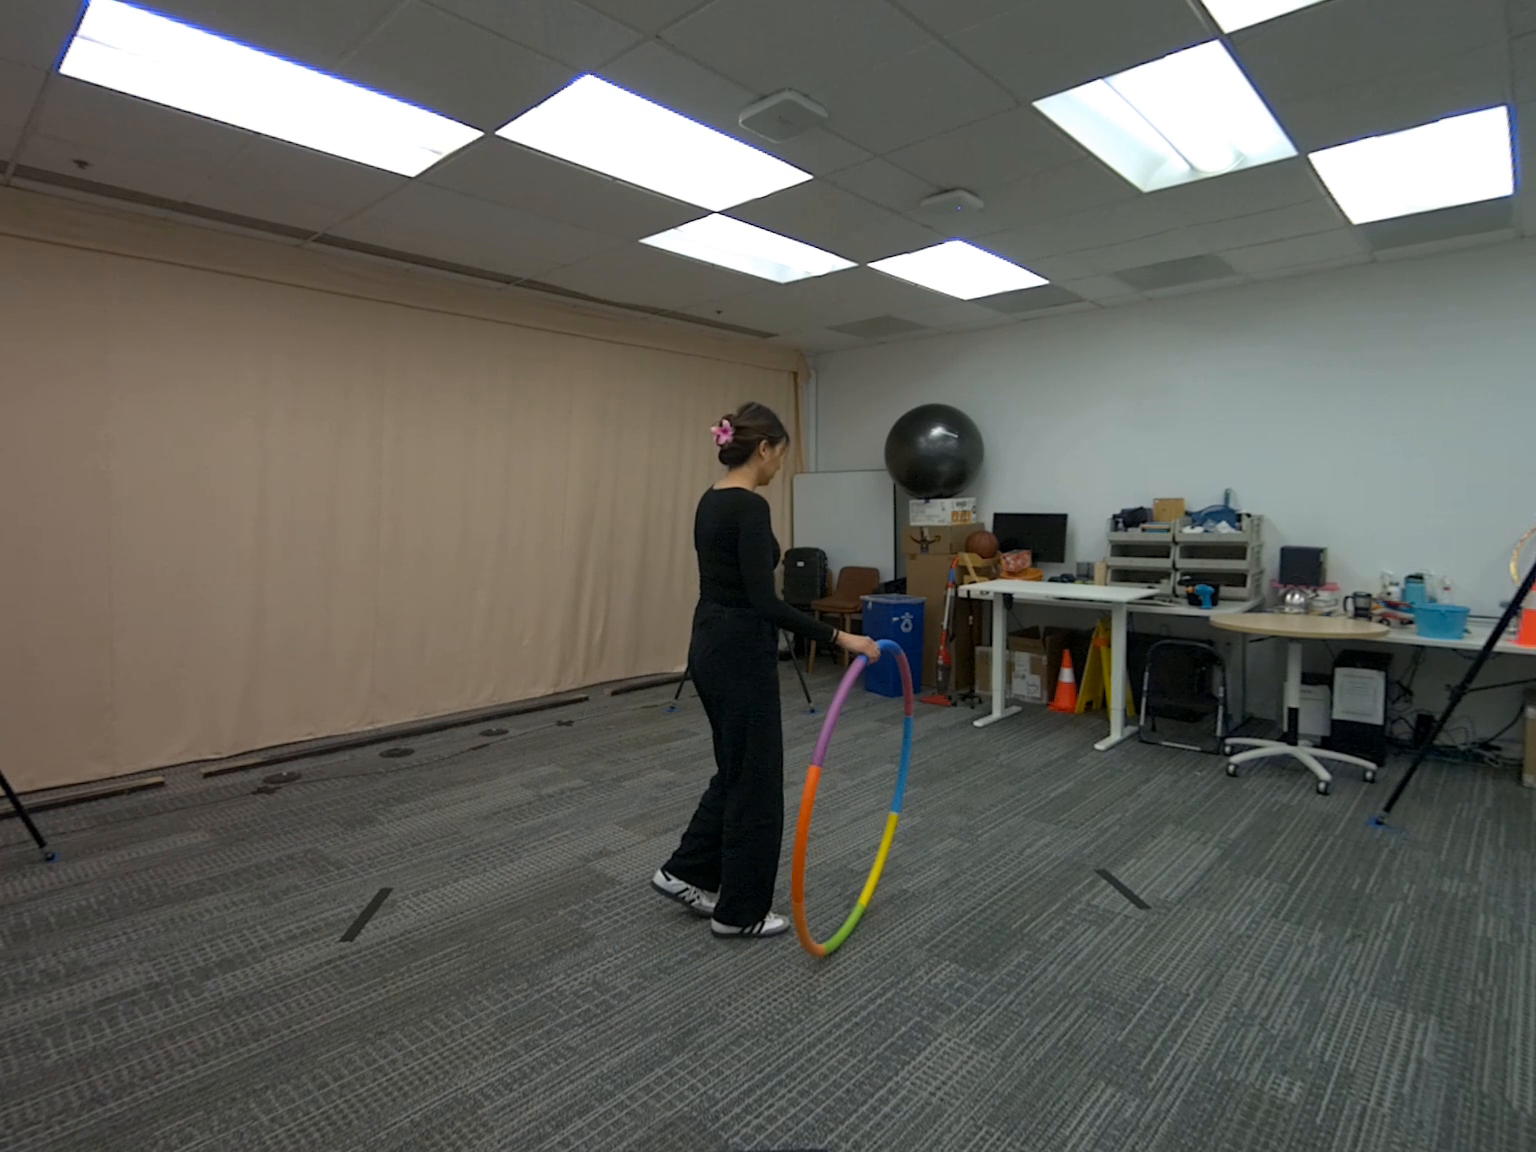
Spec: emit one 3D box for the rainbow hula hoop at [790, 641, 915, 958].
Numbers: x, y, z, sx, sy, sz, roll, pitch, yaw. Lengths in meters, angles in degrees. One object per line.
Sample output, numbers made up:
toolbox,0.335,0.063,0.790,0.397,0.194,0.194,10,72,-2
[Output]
rainbow hula hoop,0.289,0.689,2.671,0.036,0.975,0.954,10,8,26
